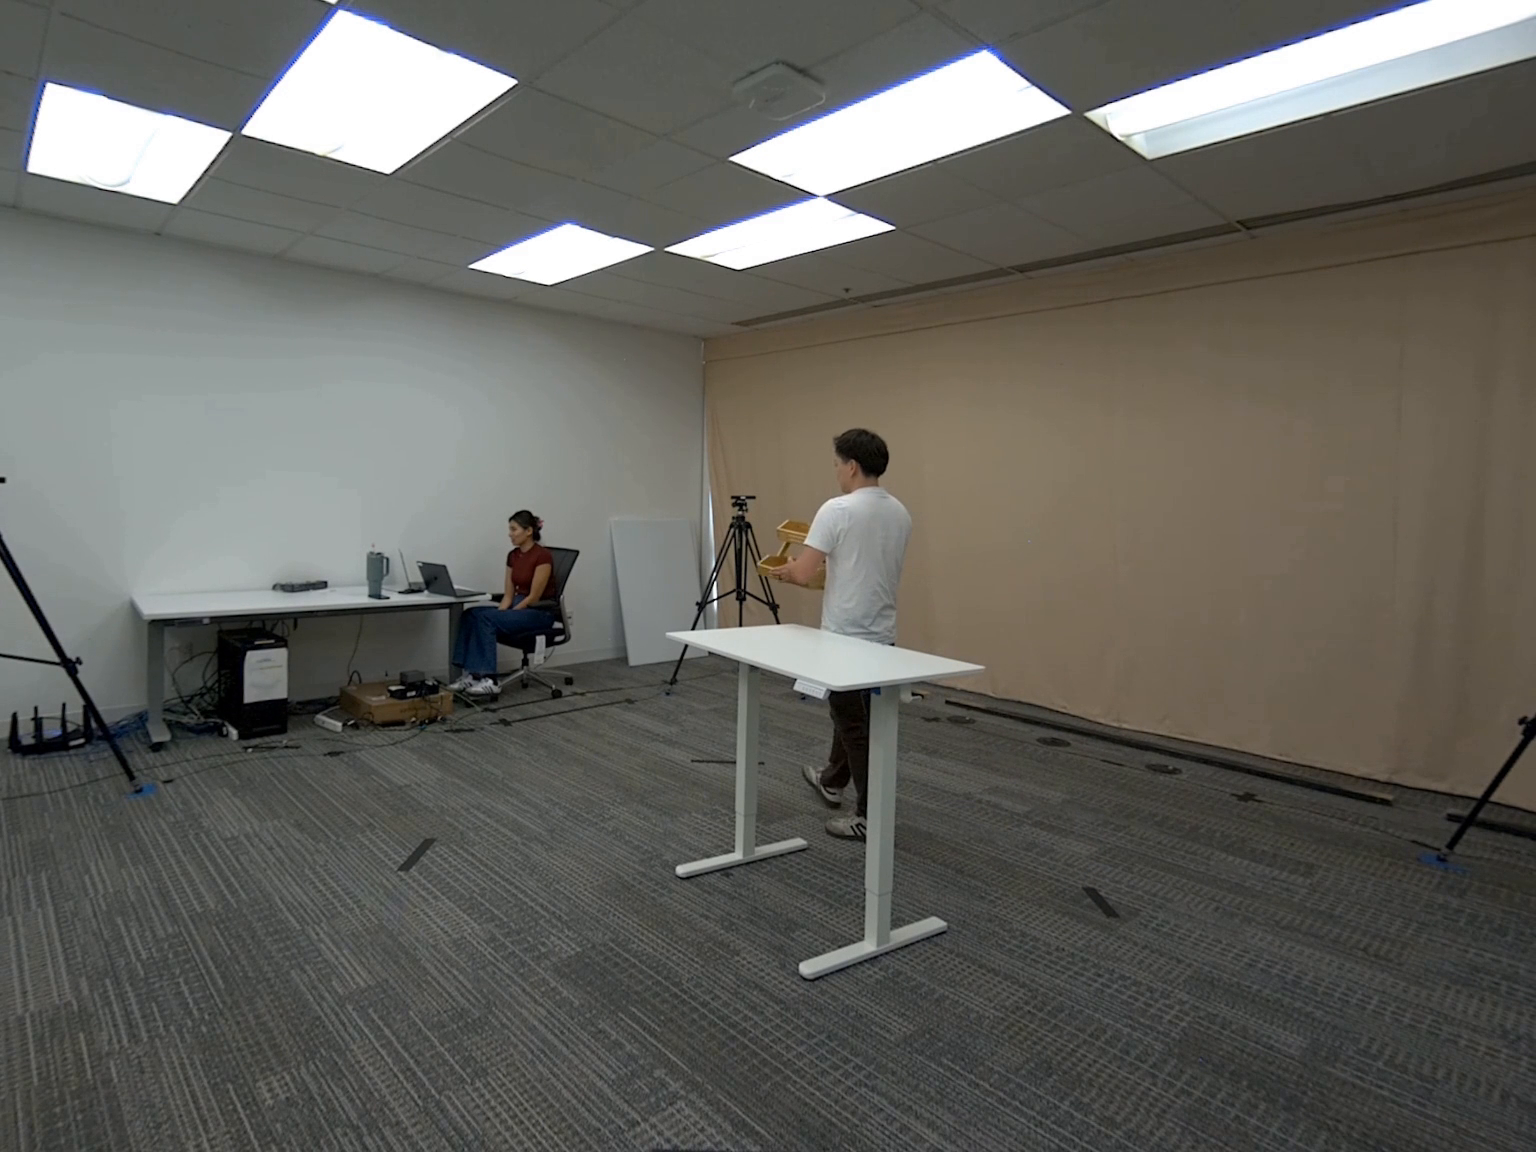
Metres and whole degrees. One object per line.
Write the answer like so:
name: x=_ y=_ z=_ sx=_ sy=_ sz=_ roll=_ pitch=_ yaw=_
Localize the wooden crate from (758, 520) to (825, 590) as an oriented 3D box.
wooden crate: x=0.173 y=-0.101 z=3.770 sx=0.334 sy=0.272 sz=0.294 roll=15 pitch=7 yaw=40
